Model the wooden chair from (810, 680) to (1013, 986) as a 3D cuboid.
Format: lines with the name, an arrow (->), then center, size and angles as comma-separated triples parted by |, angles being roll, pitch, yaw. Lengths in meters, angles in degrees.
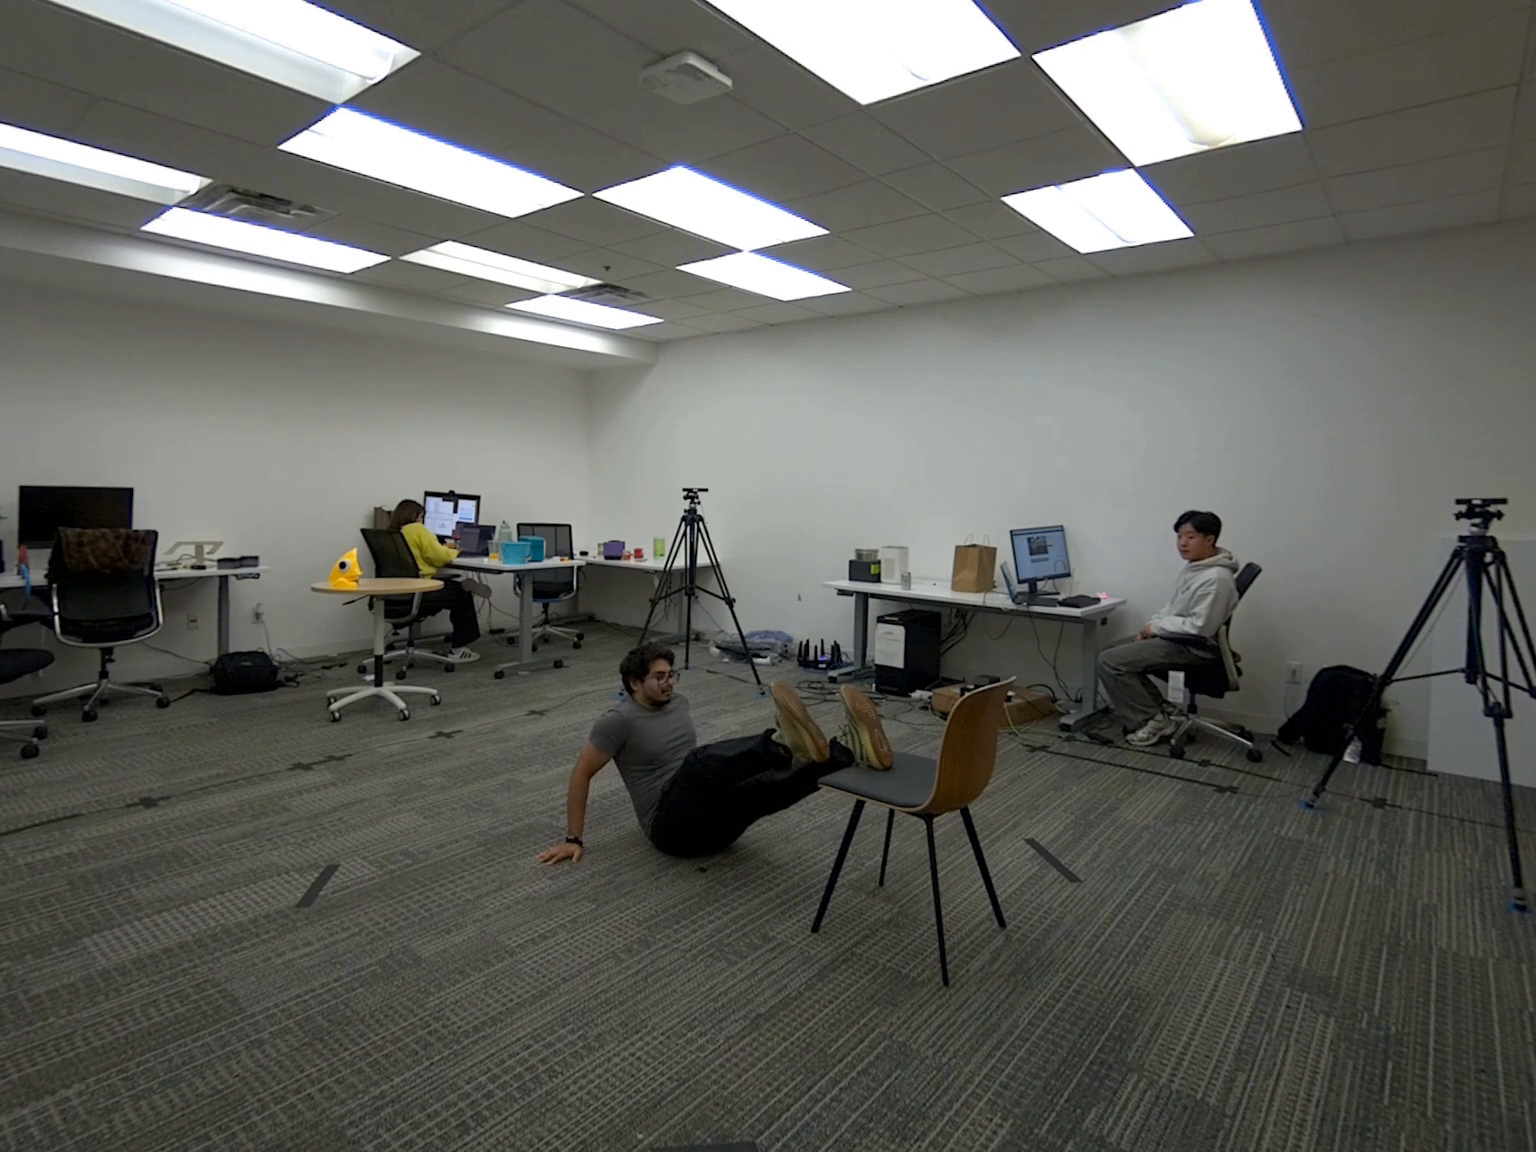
wooden chair -> 0.449, 0.699, 2.691 | 0.541, 0.873, 0.464 | 9, 7, 37
